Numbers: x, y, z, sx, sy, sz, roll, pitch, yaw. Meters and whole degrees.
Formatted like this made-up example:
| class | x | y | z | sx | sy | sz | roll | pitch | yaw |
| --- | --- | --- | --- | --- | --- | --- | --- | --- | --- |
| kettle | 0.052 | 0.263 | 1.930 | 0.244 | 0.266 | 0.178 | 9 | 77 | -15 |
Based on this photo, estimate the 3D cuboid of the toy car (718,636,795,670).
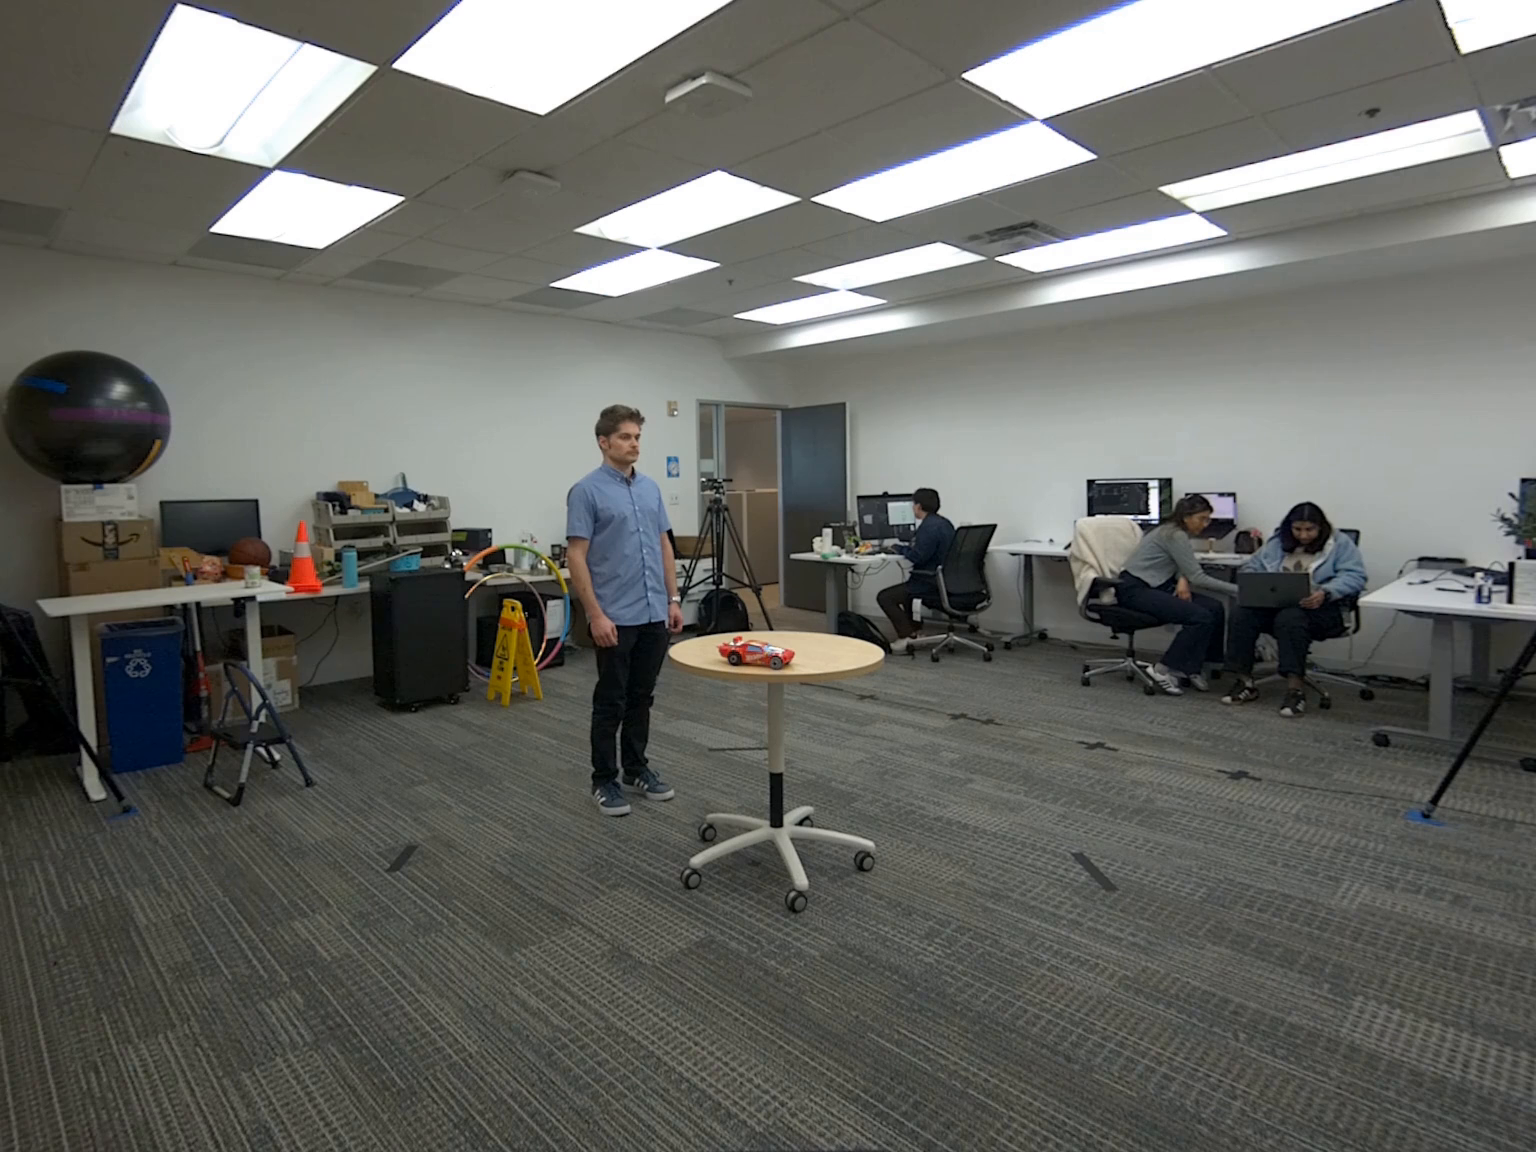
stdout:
| class | x | y | z | sx | sy | sz | roll | pitch | yaw |
| --- | --- | --- | --- | --- | --- | --- | --- | --- | --- |
| toy car | -0.037 | 0.260 | 2.826 | 0.261 | 0.082 | 0.128 | 14 | 10 | 22 |
